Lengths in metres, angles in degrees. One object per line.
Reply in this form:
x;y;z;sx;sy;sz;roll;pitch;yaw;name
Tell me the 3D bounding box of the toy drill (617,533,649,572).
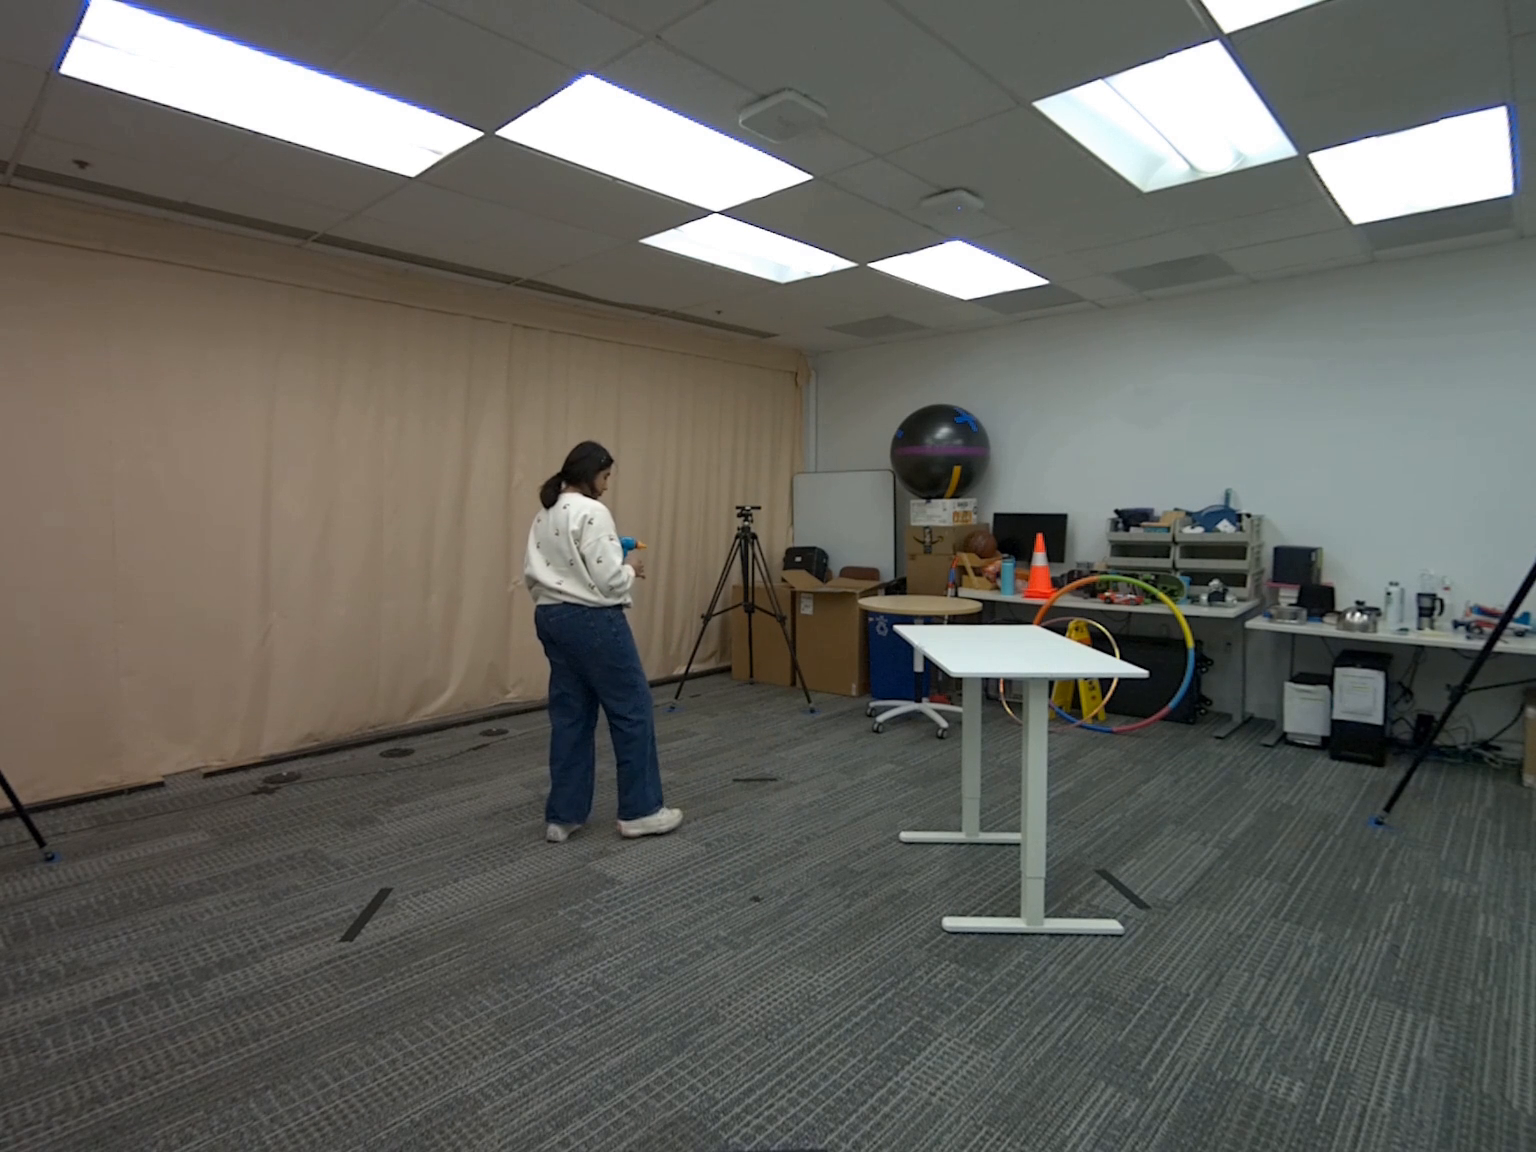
-0.632;-0.105;3.802;0.164;0.147;0.063;8;-11;-33;toy drill
